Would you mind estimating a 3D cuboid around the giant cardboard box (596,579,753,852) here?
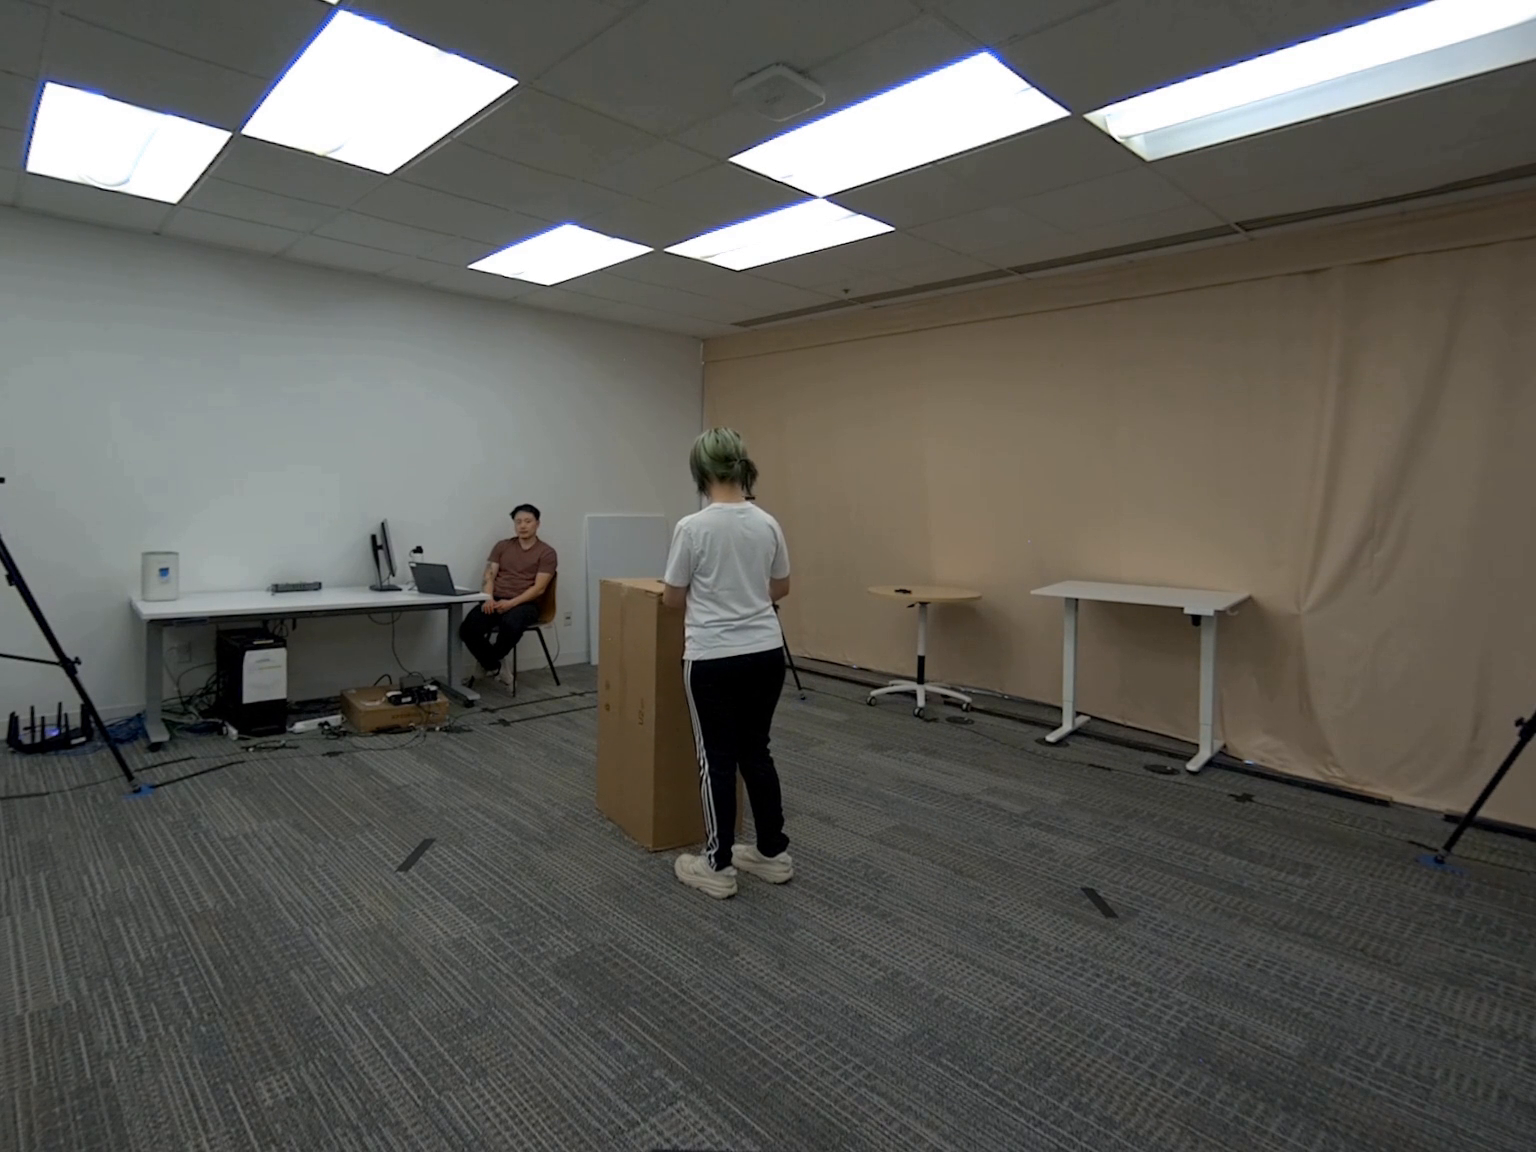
[{"bbox_3d":[-0.434,0.545,3.614,0.437,1.025,0.598,0,3,-34],"label":"giant cardboard box"}]
